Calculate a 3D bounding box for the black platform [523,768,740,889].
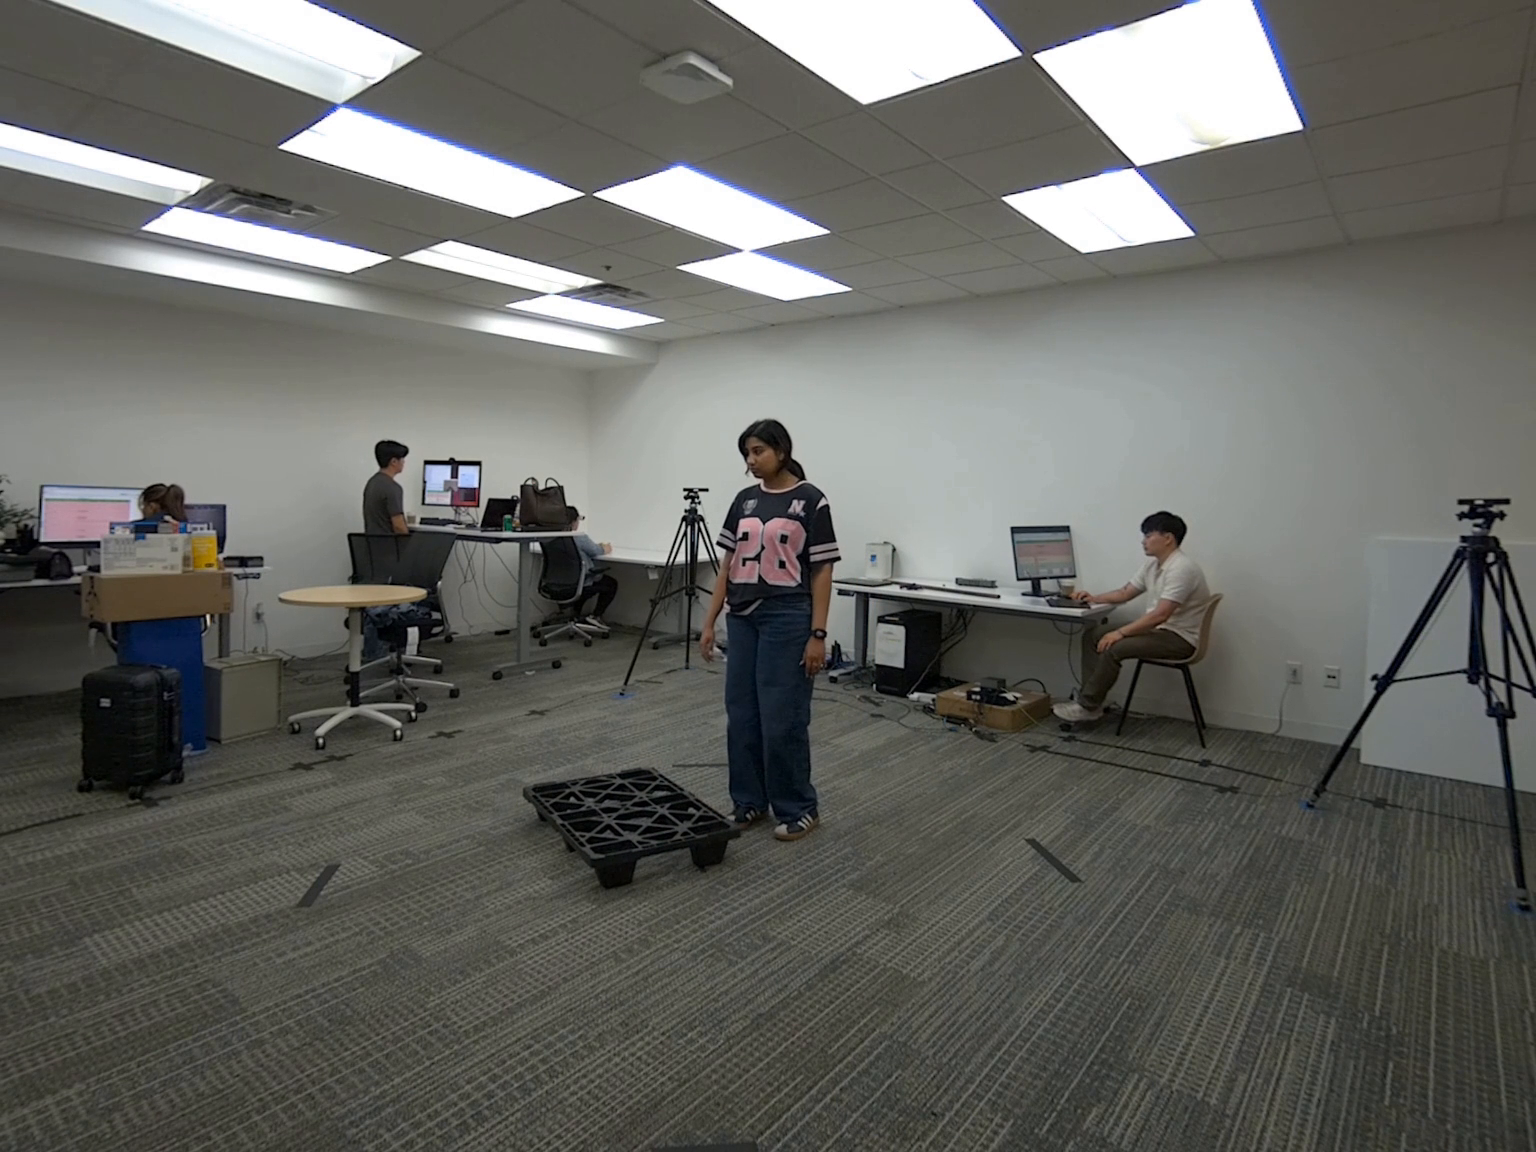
[{"bbox_3d":[-0.578,0.972,3.357,0.589,0.143,0.831,-3,7,-31],"label":"black platform"}]
